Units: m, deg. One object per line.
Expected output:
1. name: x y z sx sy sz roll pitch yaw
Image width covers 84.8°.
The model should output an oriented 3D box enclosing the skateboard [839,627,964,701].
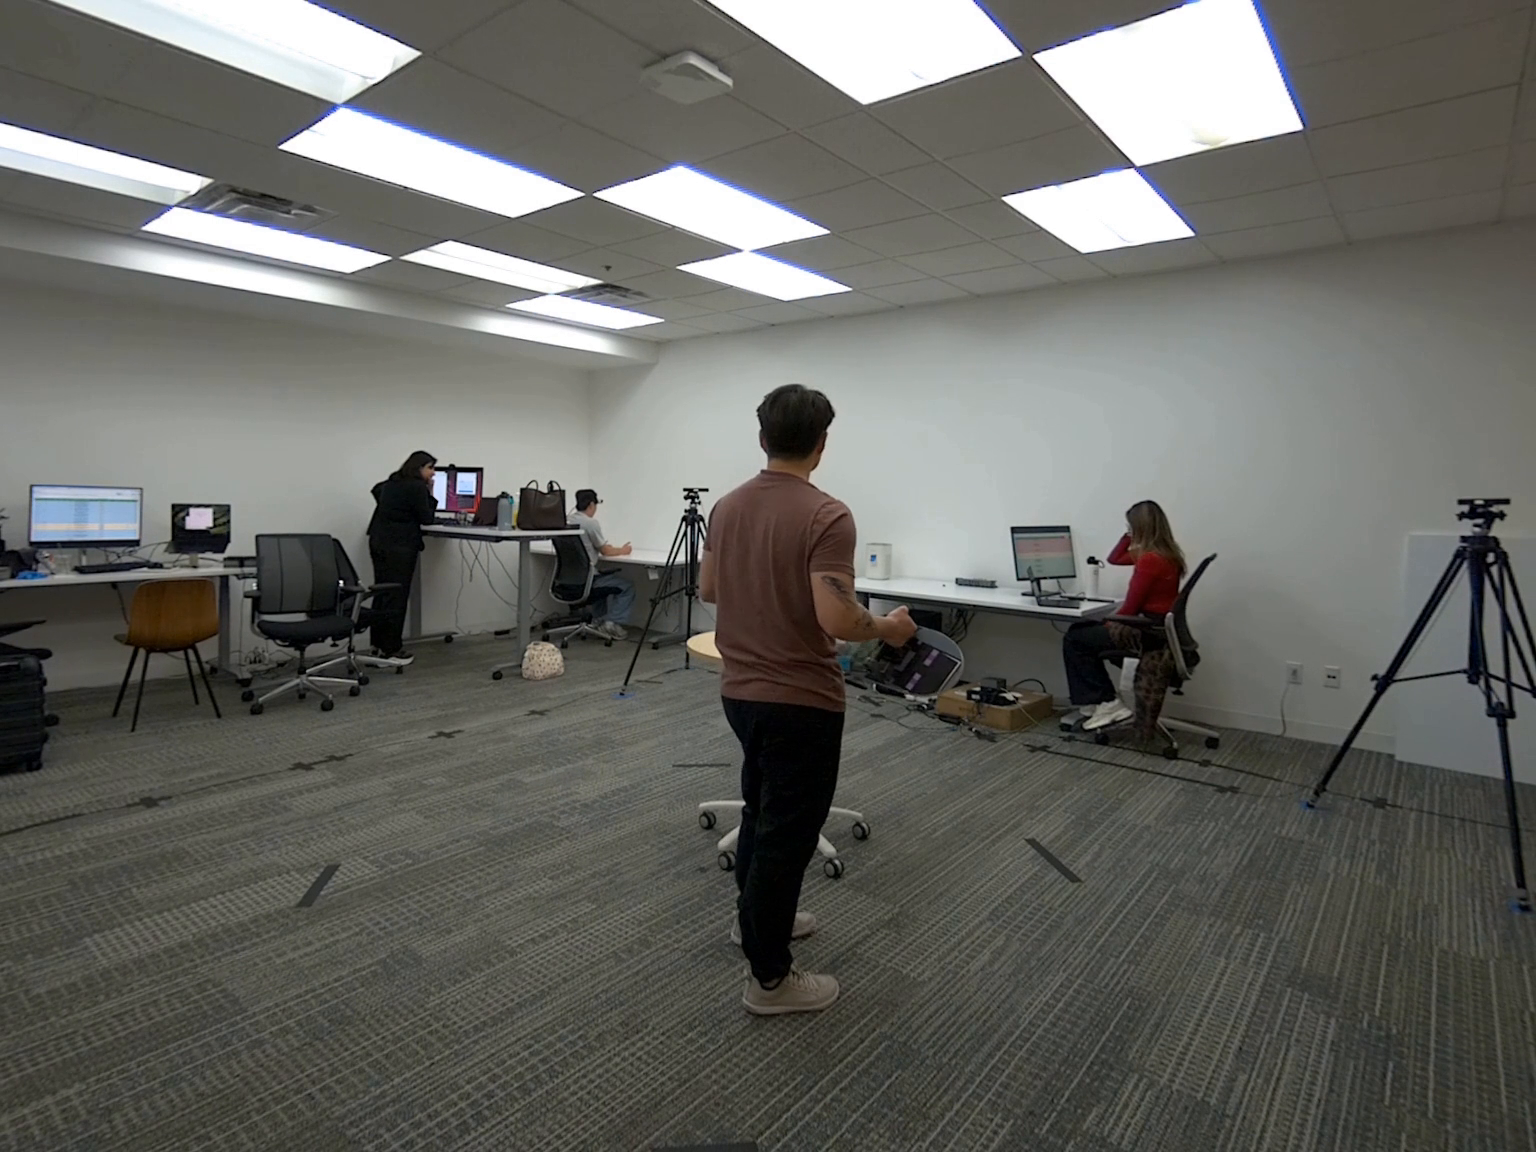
1. skateboard: 0.199 0.167 2.460 0.106 0.194 0.813 43 -16 -32
